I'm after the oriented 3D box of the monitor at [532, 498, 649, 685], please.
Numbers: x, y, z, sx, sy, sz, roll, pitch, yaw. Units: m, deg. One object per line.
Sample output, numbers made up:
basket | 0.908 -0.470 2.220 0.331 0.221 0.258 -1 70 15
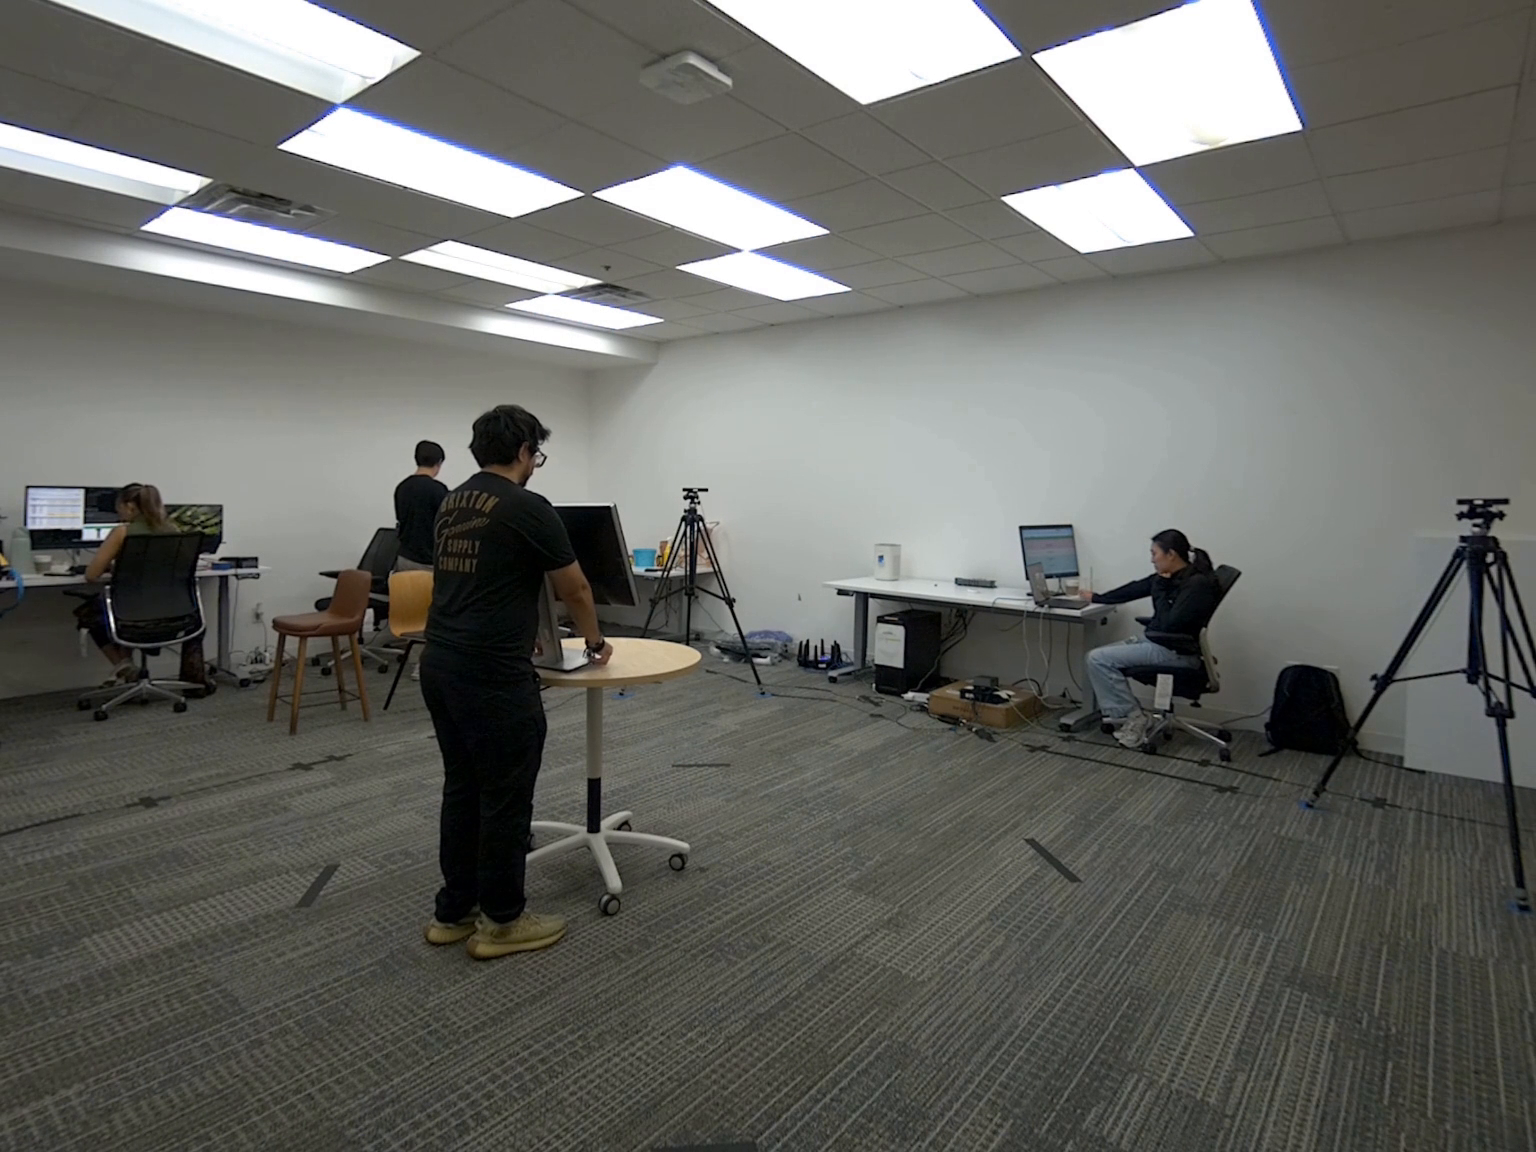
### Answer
monitor | -0.736 0.033 2.844 0.582 0.545 0.207 3 18 31
